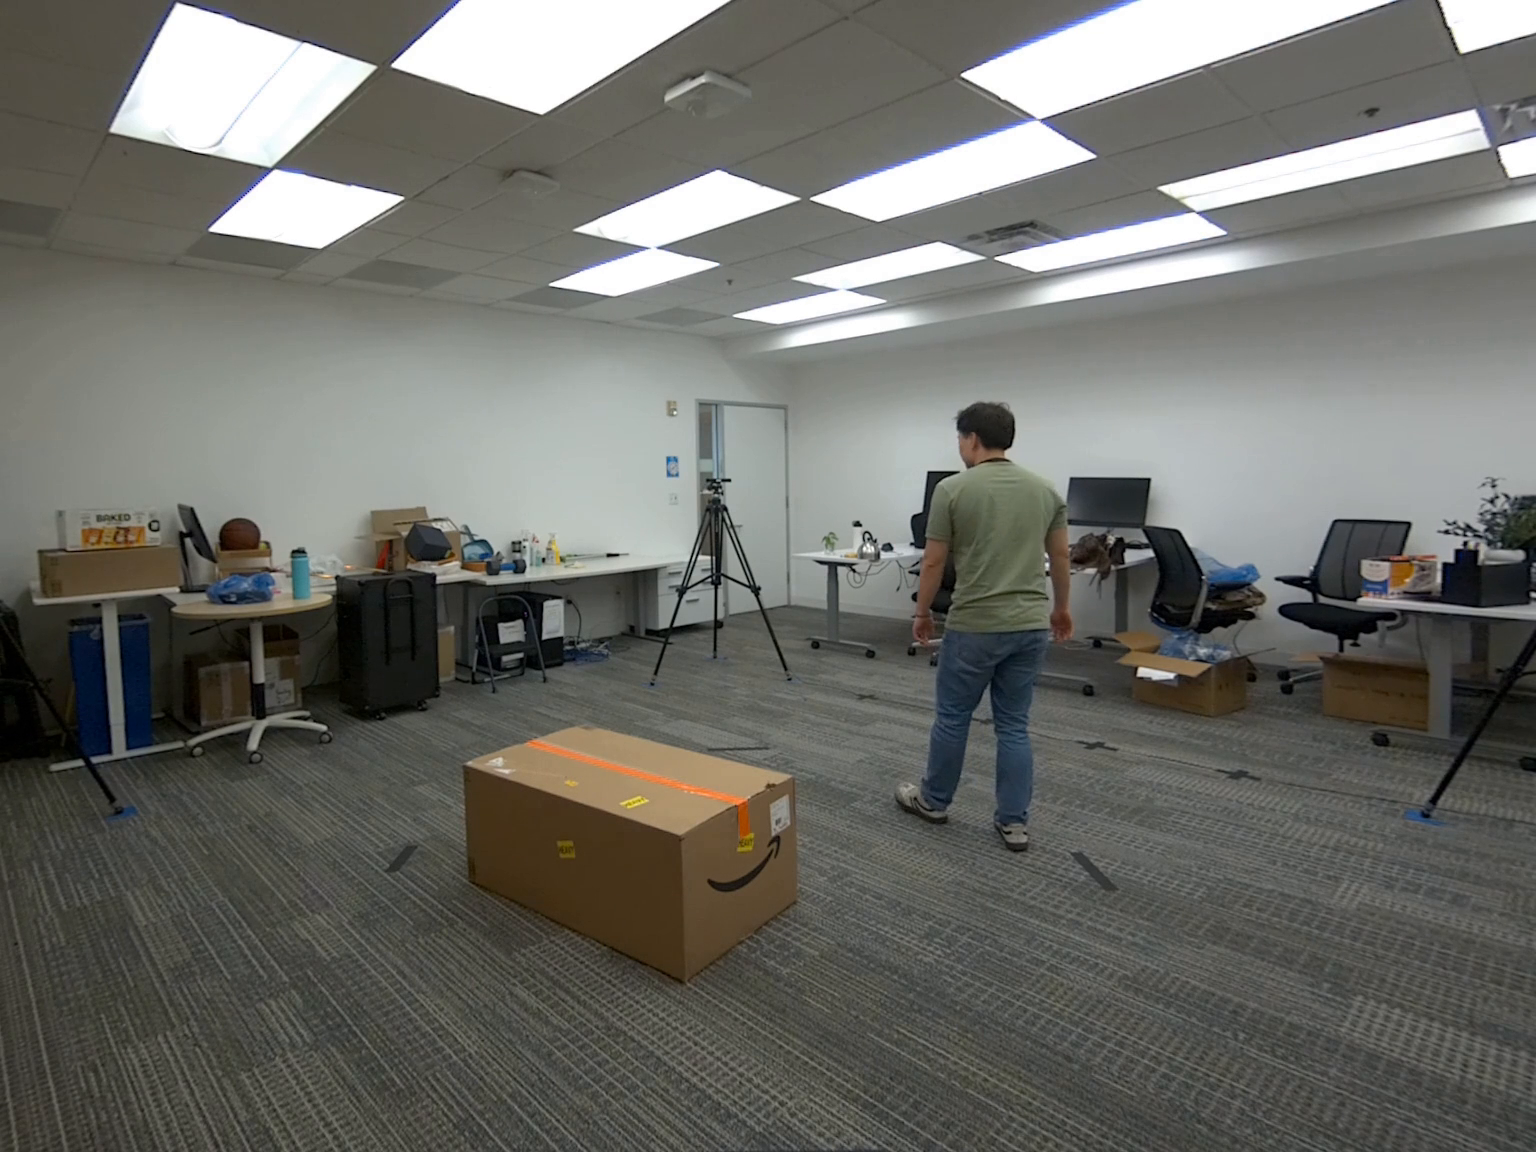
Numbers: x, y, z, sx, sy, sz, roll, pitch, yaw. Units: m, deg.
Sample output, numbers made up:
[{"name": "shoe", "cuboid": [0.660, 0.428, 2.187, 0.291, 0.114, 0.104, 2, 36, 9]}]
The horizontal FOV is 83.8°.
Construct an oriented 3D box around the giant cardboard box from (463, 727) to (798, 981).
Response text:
[{"name": "giant cardboard box", "cuboid": [-0.482, 0.862, 2.903, 1.056, 0.424, 0.563, 4, 8, 38]}]
